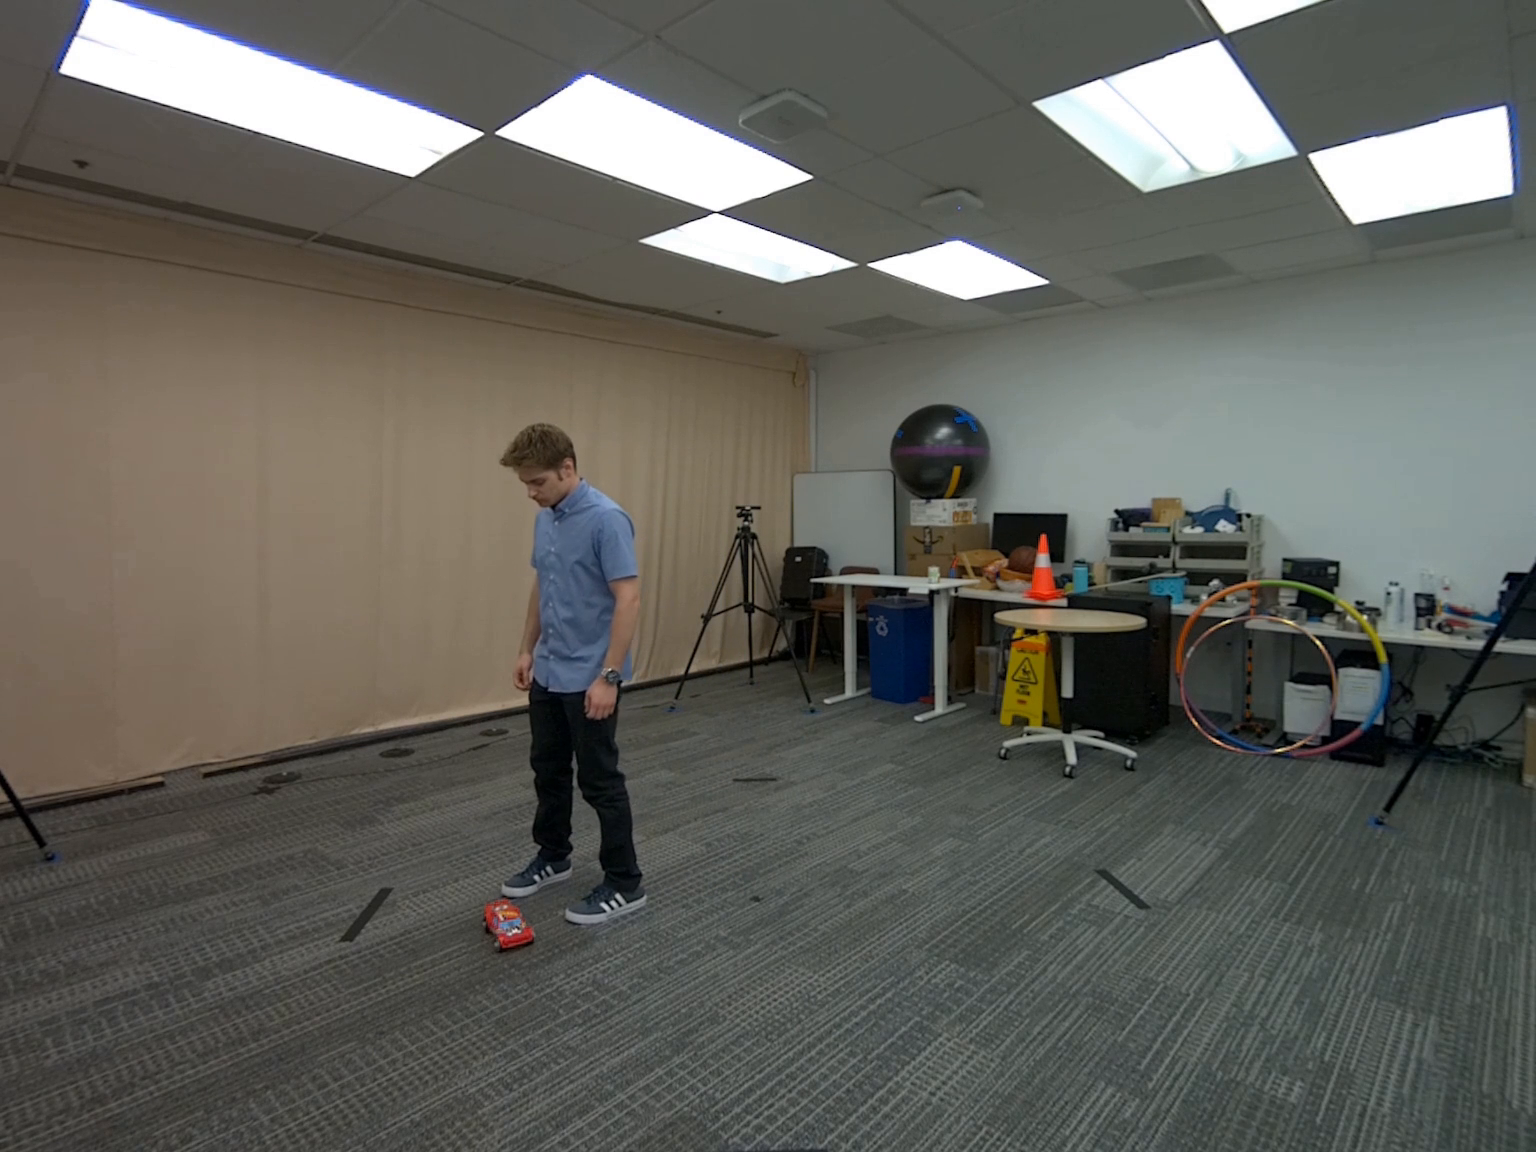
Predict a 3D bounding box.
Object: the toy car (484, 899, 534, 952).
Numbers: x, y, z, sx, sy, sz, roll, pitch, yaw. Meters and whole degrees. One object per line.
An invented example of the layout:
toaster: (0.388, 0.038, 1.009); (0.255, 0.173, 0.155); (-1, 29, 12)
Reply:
toy car: (-0.855, 1.140, 2.744); (0.127, 0.082, 0.263); (-5, 16, -31)
